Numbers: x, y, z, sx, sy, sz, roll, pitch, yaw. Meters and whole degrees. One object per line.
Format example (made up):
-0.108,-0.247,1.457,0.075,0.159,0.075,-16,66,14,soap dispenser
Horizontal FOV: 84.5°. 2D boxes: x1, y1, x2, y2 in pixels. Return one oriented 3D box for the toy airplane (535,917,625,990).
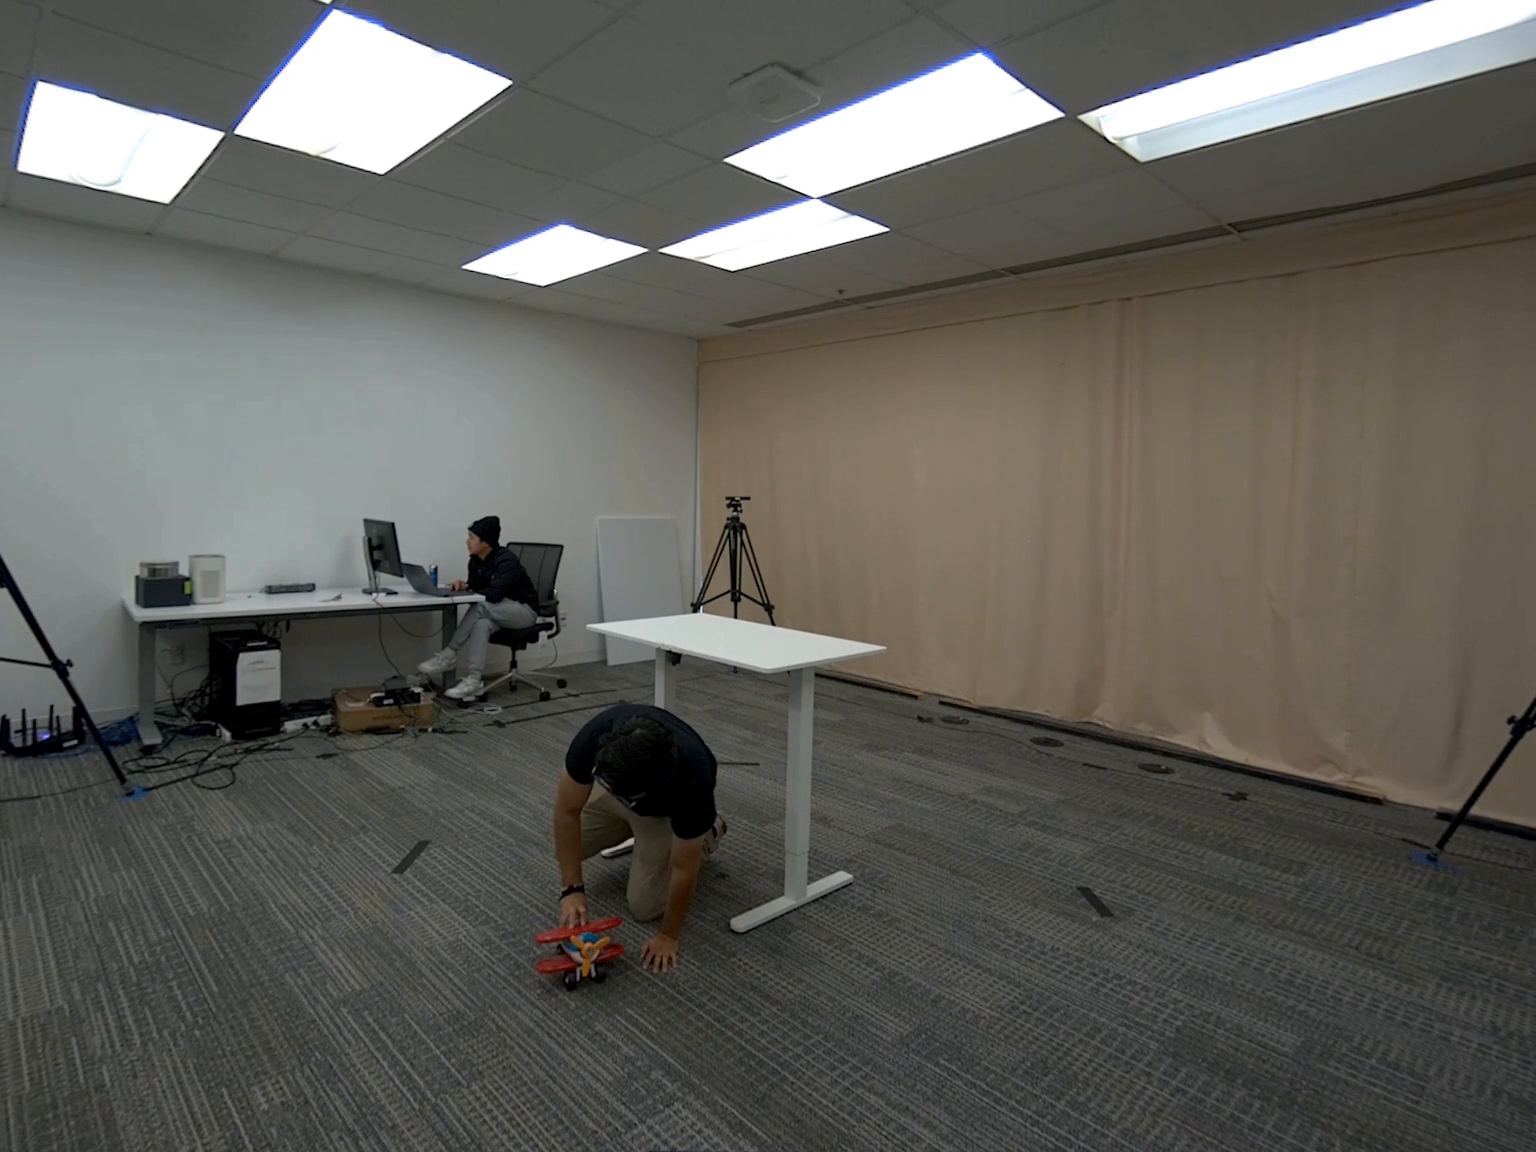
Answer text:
-0.586,1.088,2.448,0.265,0.156,0.246,6,7,31,toy airplane
